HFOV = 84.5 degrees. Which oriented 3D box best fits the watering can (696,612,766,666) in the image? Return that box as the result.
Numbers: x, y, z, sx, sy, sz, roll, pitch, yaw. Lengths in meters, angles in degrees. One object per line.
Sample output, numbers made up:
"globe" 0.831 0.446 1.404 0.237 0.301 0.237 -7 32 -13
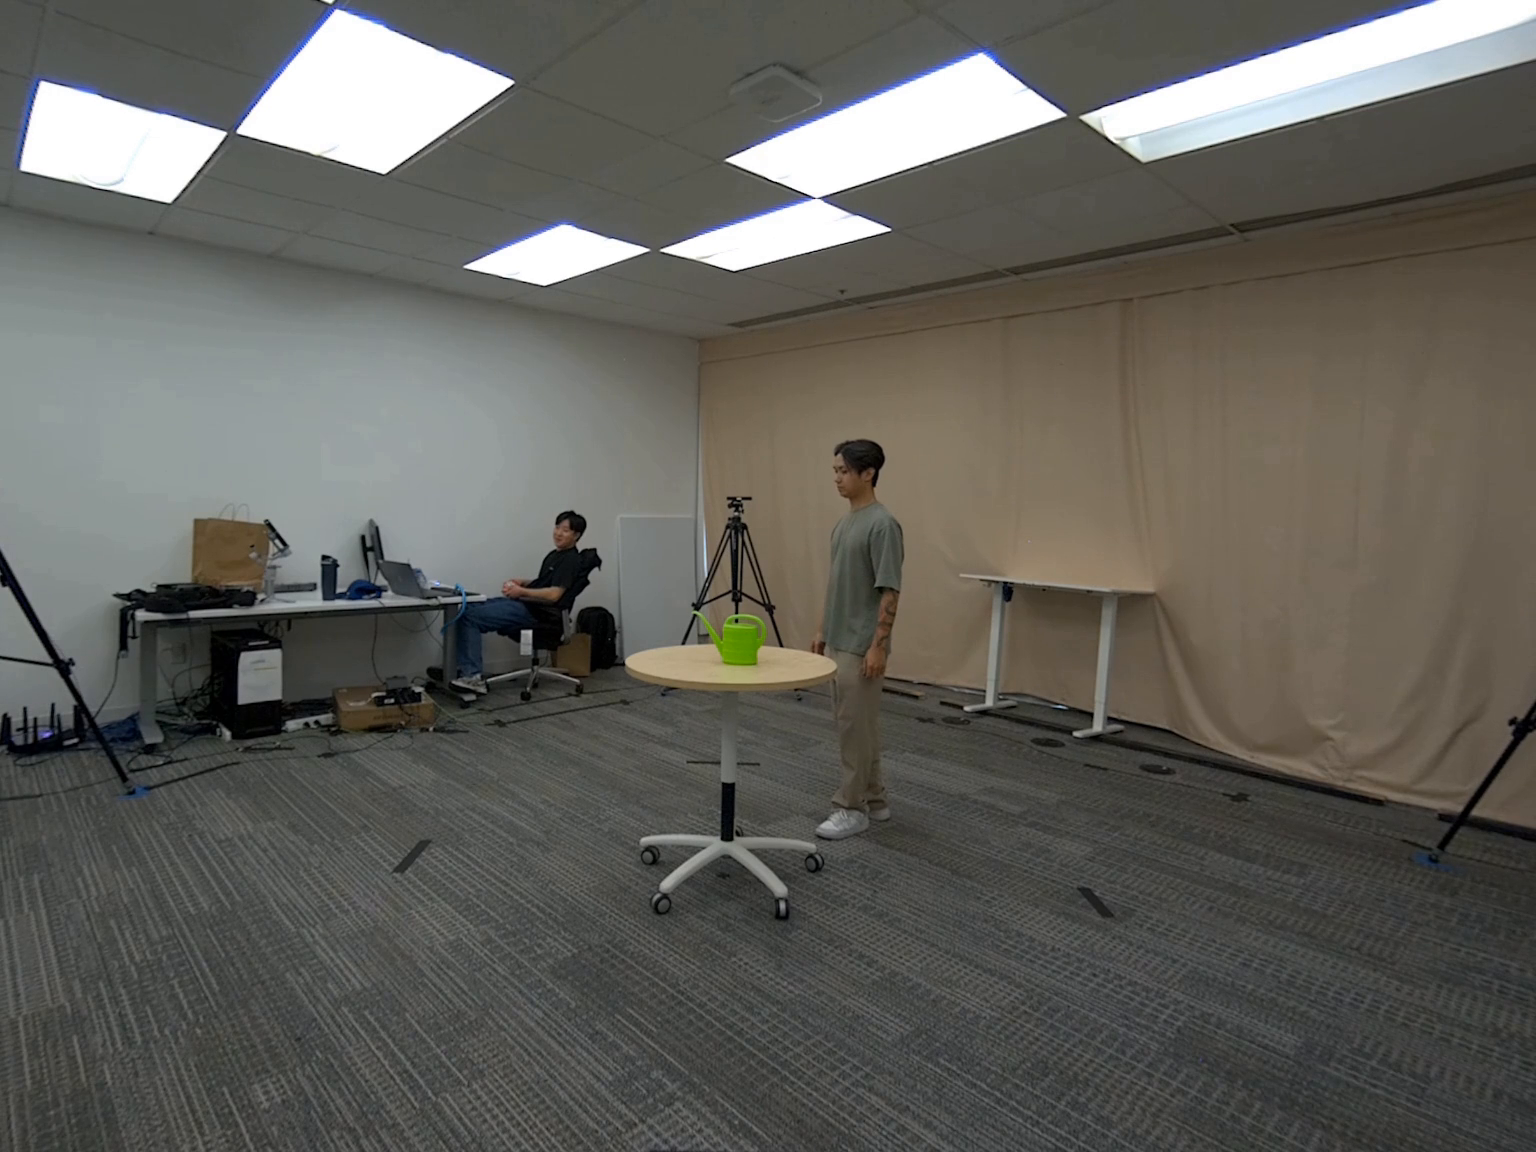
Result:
"watering can" -0.142 0.228 3.057 0.285 0.176 0.096 6 5 32
